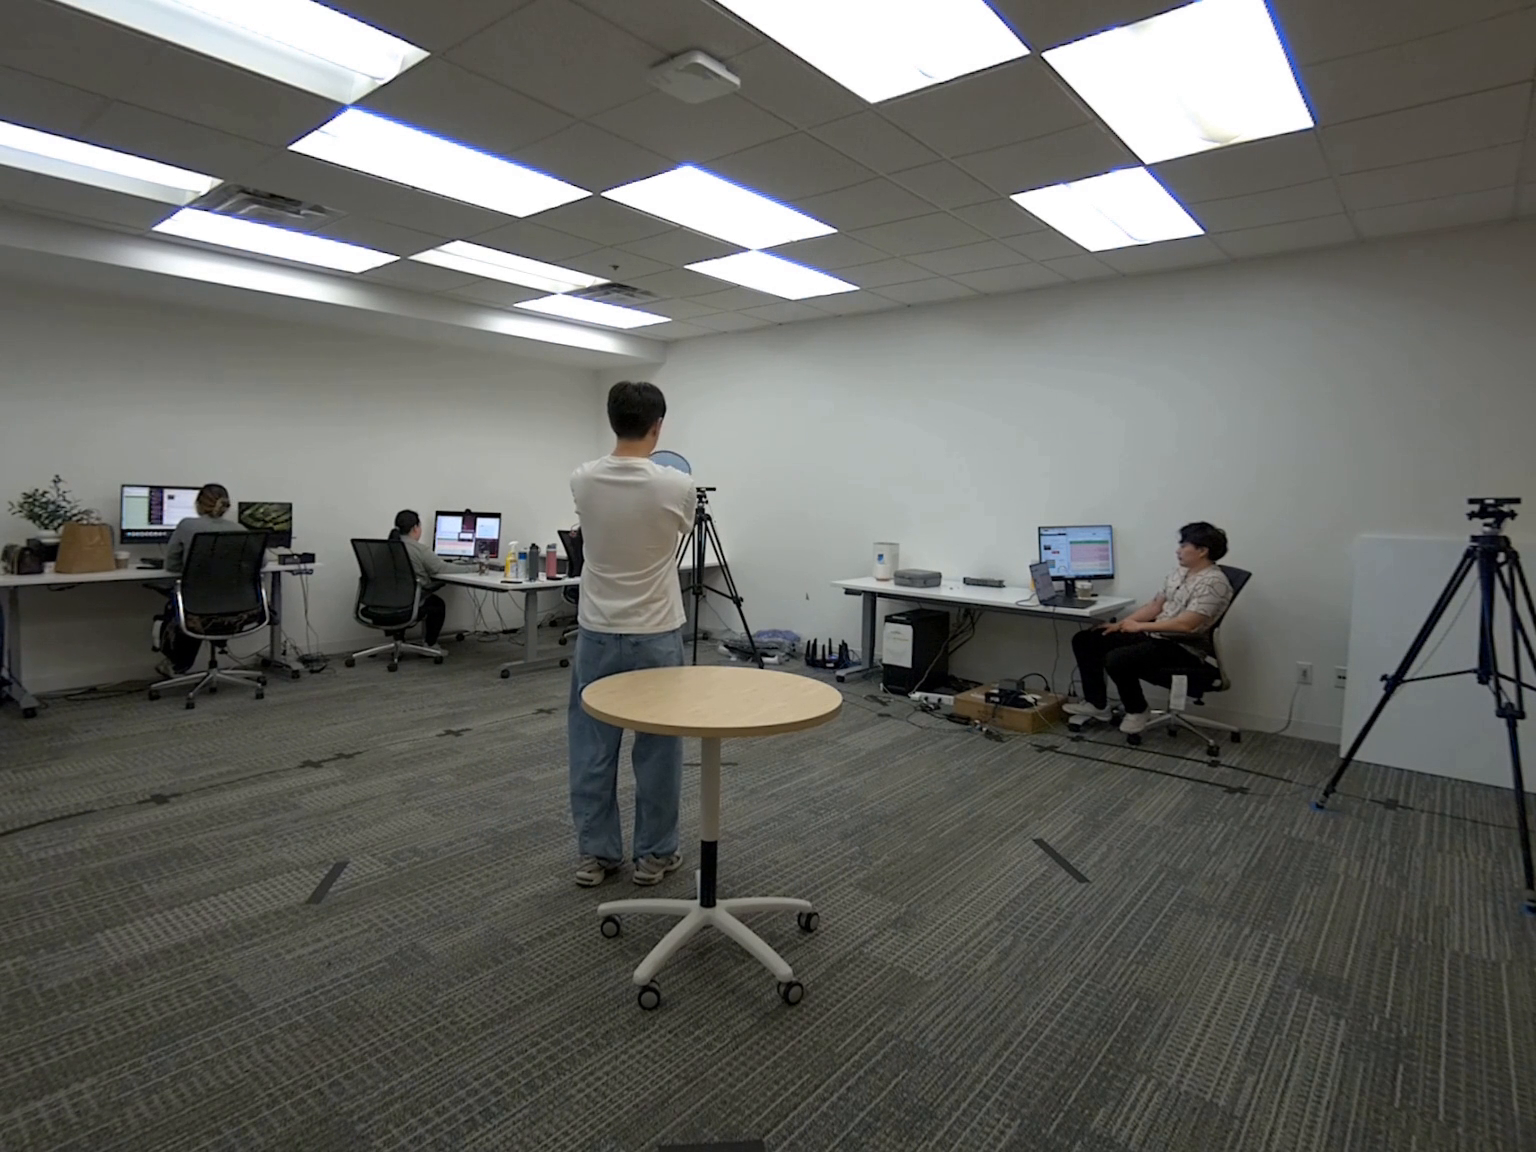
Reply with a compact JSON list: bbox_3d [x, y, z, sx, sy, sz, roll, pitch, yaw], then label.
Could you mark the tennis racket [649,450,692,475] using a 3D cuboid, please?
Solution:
[{"bbox_3d":[-0.428,-0.406,3.672,0.211,0.031,0.445,8,42,-9],"label":"tennis racket"}]
